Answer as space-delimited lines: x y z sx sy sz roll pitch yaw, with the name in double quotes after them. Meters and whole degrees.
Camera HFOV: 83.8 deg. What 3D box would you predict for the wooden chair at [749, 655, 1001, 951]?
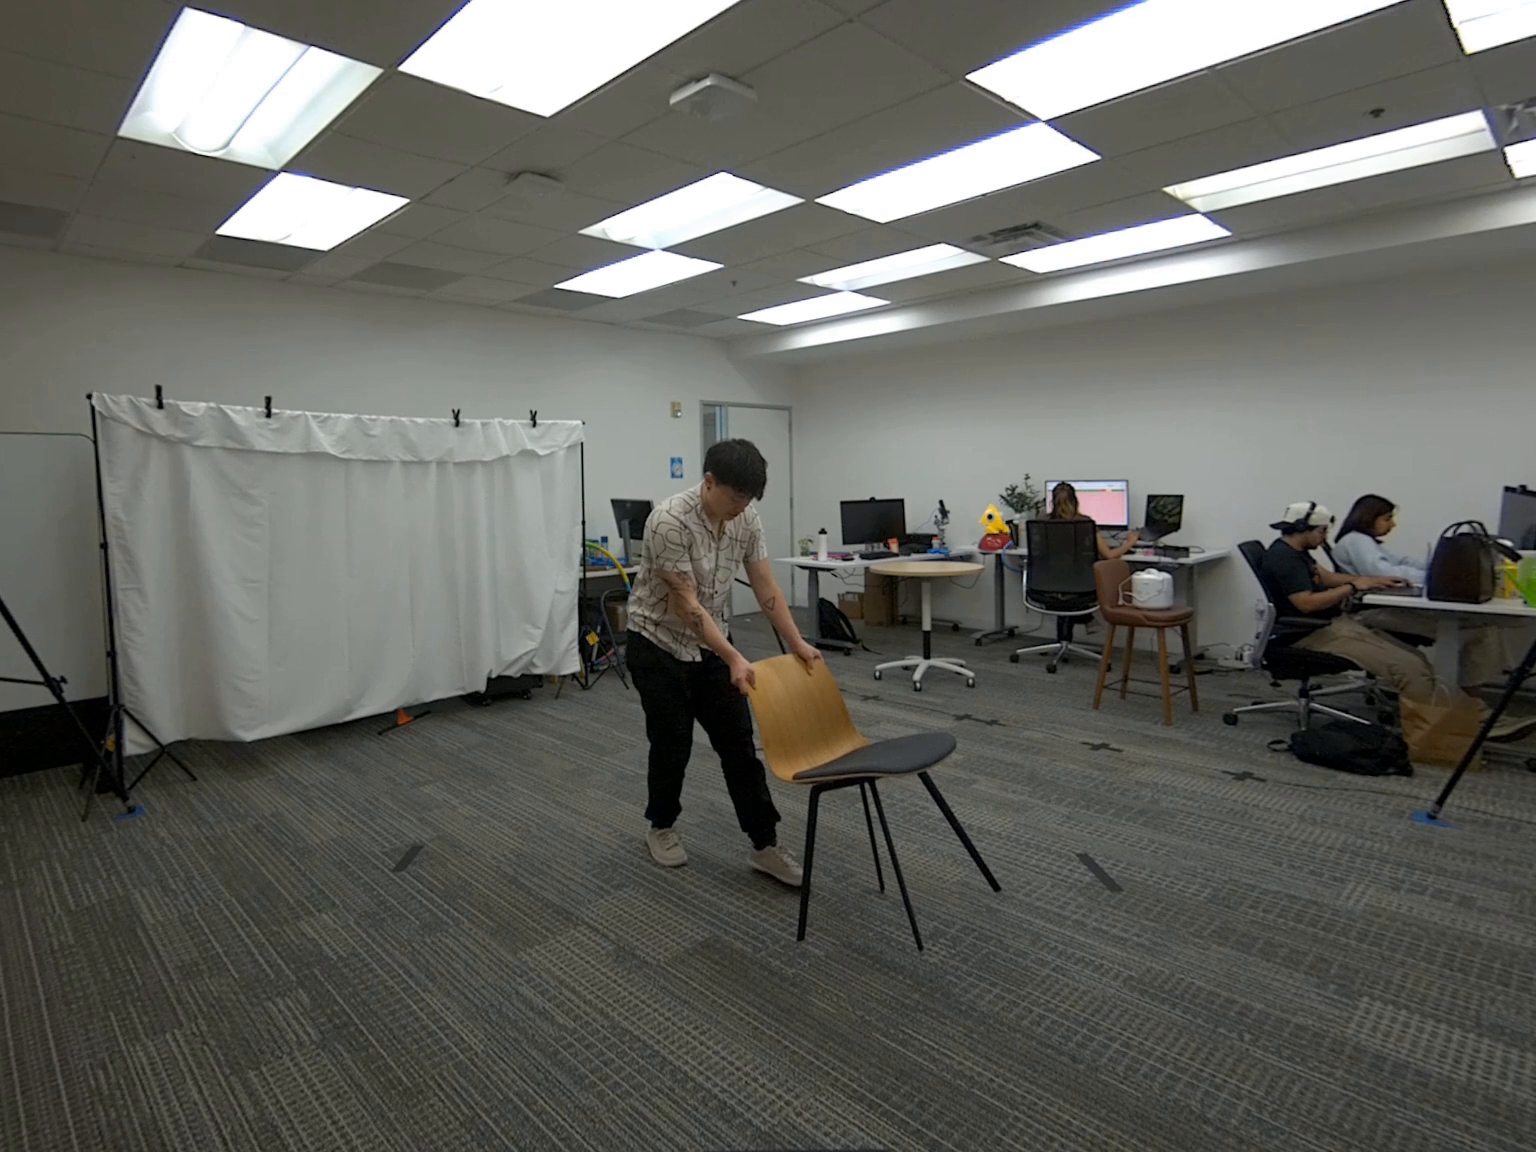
0.302 0.619 2.640 0.465 0.890 0.530 -5 -16 -46 "wooden chair"
